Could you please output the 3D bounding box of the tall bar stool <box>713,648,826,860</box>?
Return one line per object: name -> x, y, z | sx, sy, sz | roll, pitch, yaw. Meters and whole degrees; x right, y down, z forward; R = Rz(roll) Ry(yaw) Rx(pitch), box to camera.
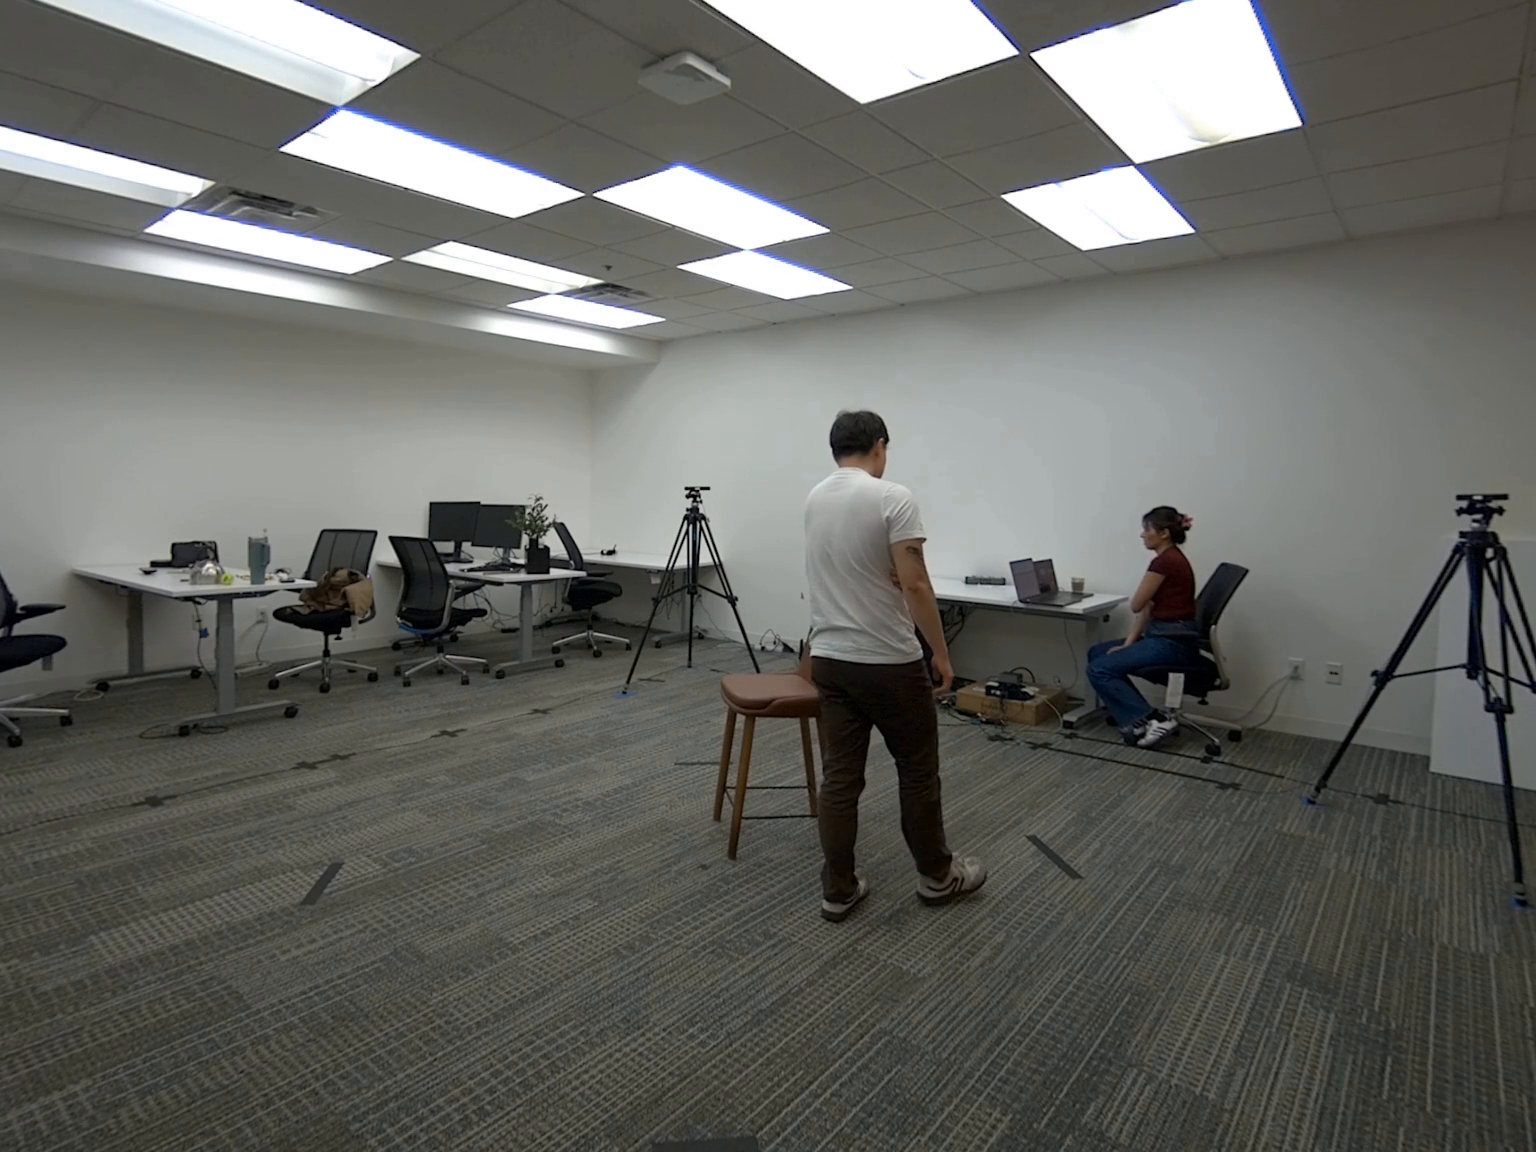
tall bar stool -> 0.034, 0.606, 3.392 | 0.462, 0.887, 0.463 | 2, 3, -11
